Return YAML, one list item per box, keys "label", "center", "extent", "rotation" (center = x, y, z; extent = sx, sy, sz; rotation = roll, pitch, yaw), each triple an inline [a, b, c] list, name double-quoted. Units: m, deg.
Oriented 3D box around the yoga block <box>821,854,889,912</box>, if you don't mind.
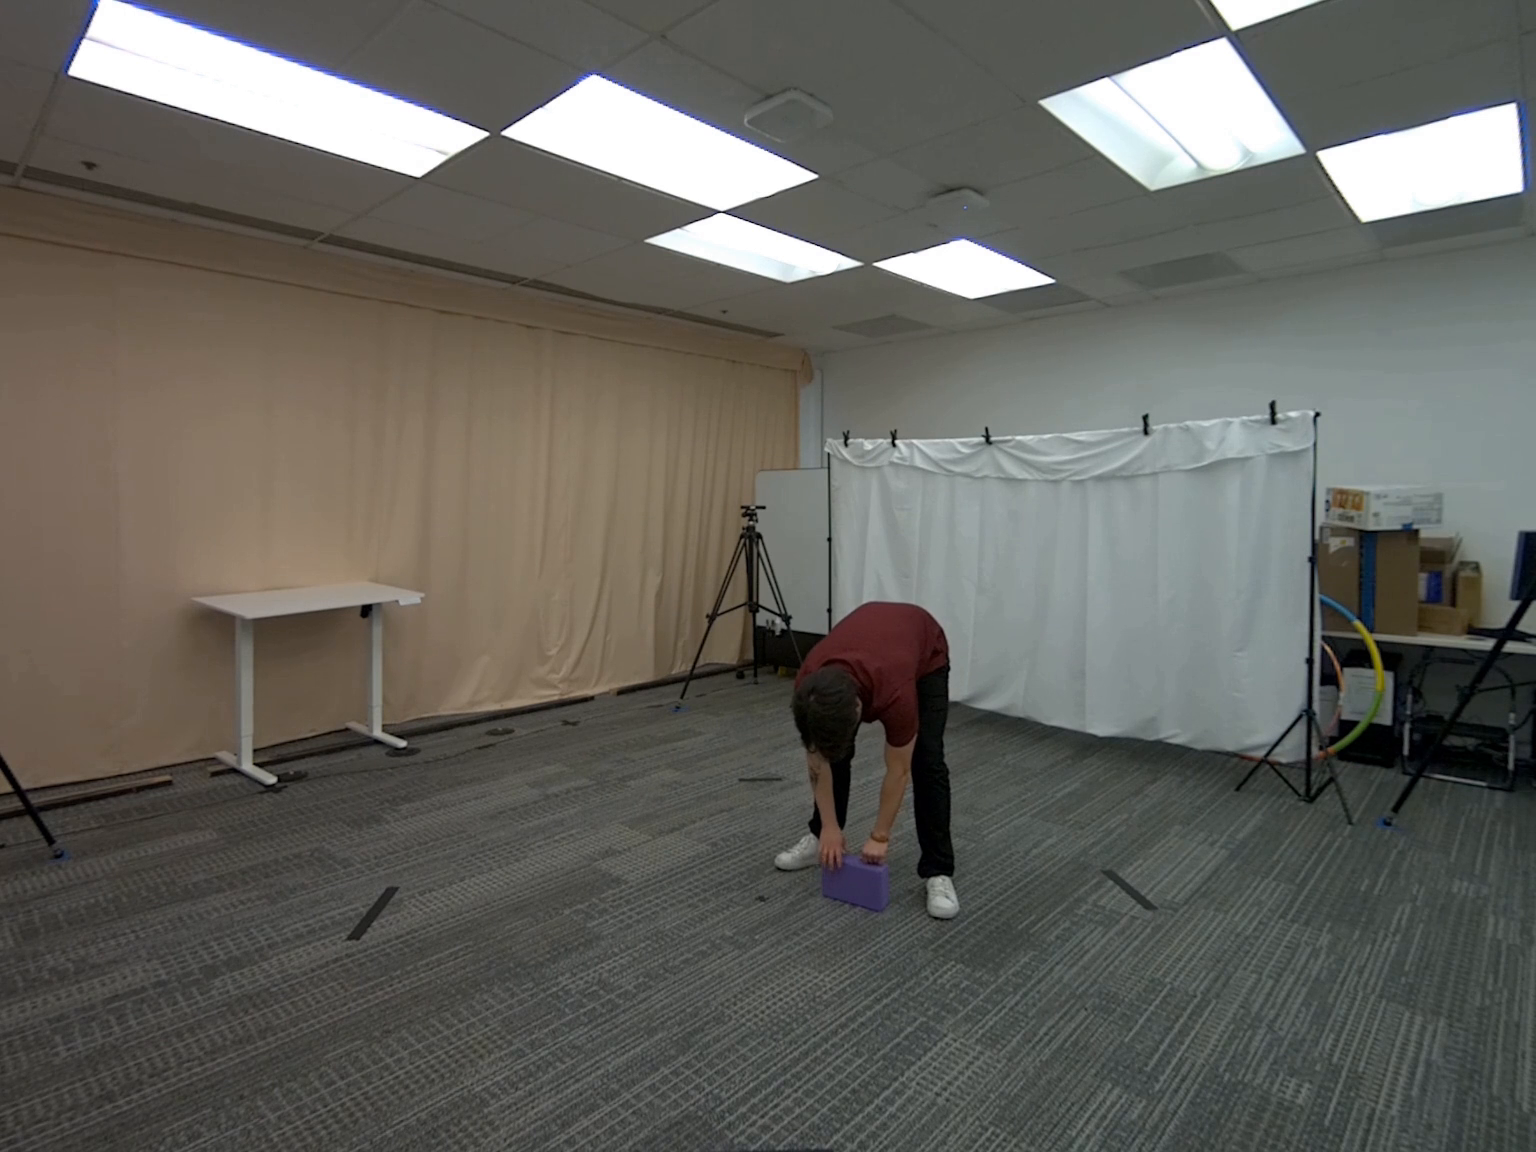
- label: "yoga block"
  center: [0.308, 1.067, 2.969]
  extent: [0.236, 0.149, 0.074]
  rotation: [4, 4, 33]
